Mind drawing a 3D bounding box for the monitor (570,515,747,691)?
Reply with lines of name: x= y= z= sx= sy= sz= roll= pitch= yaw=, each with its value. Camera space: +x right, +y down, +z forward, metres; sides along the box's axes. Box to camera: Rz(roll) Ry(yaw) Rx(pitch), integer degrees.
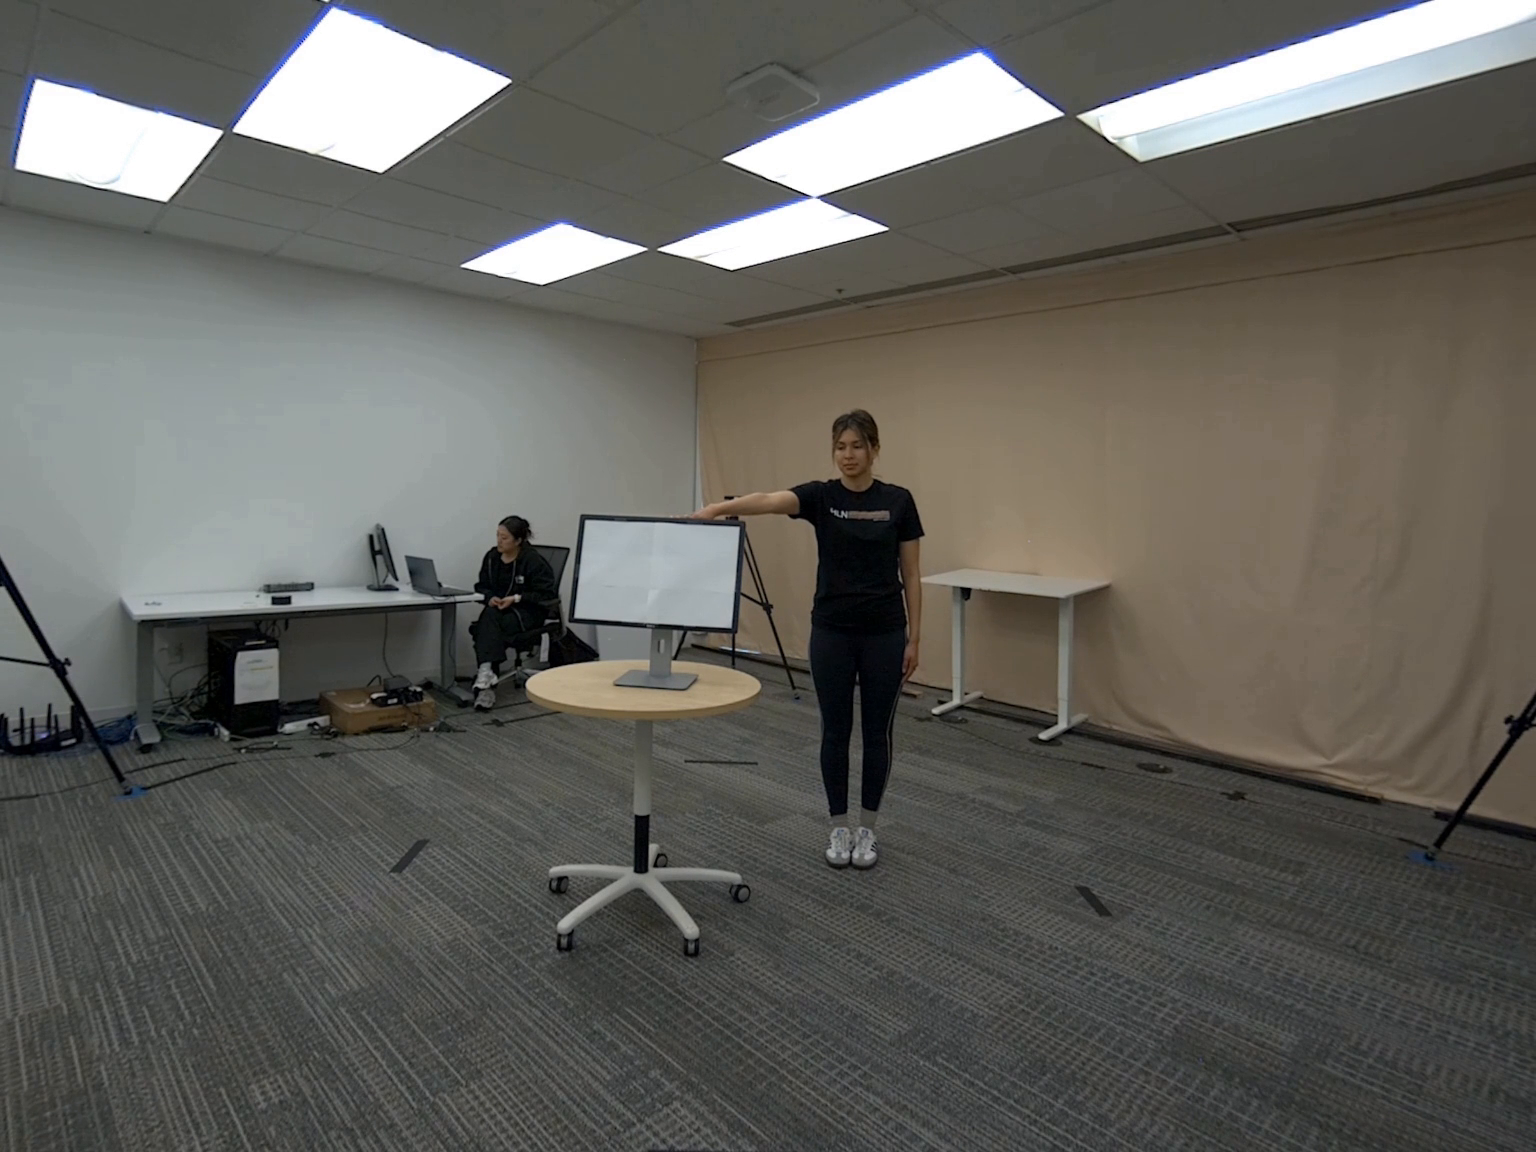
monitor: x=-0.359 y=0.089 z=2.767 sx=0.543 sy=0.521 sz=0.186 roll=3 pitch=3 yaw=9
